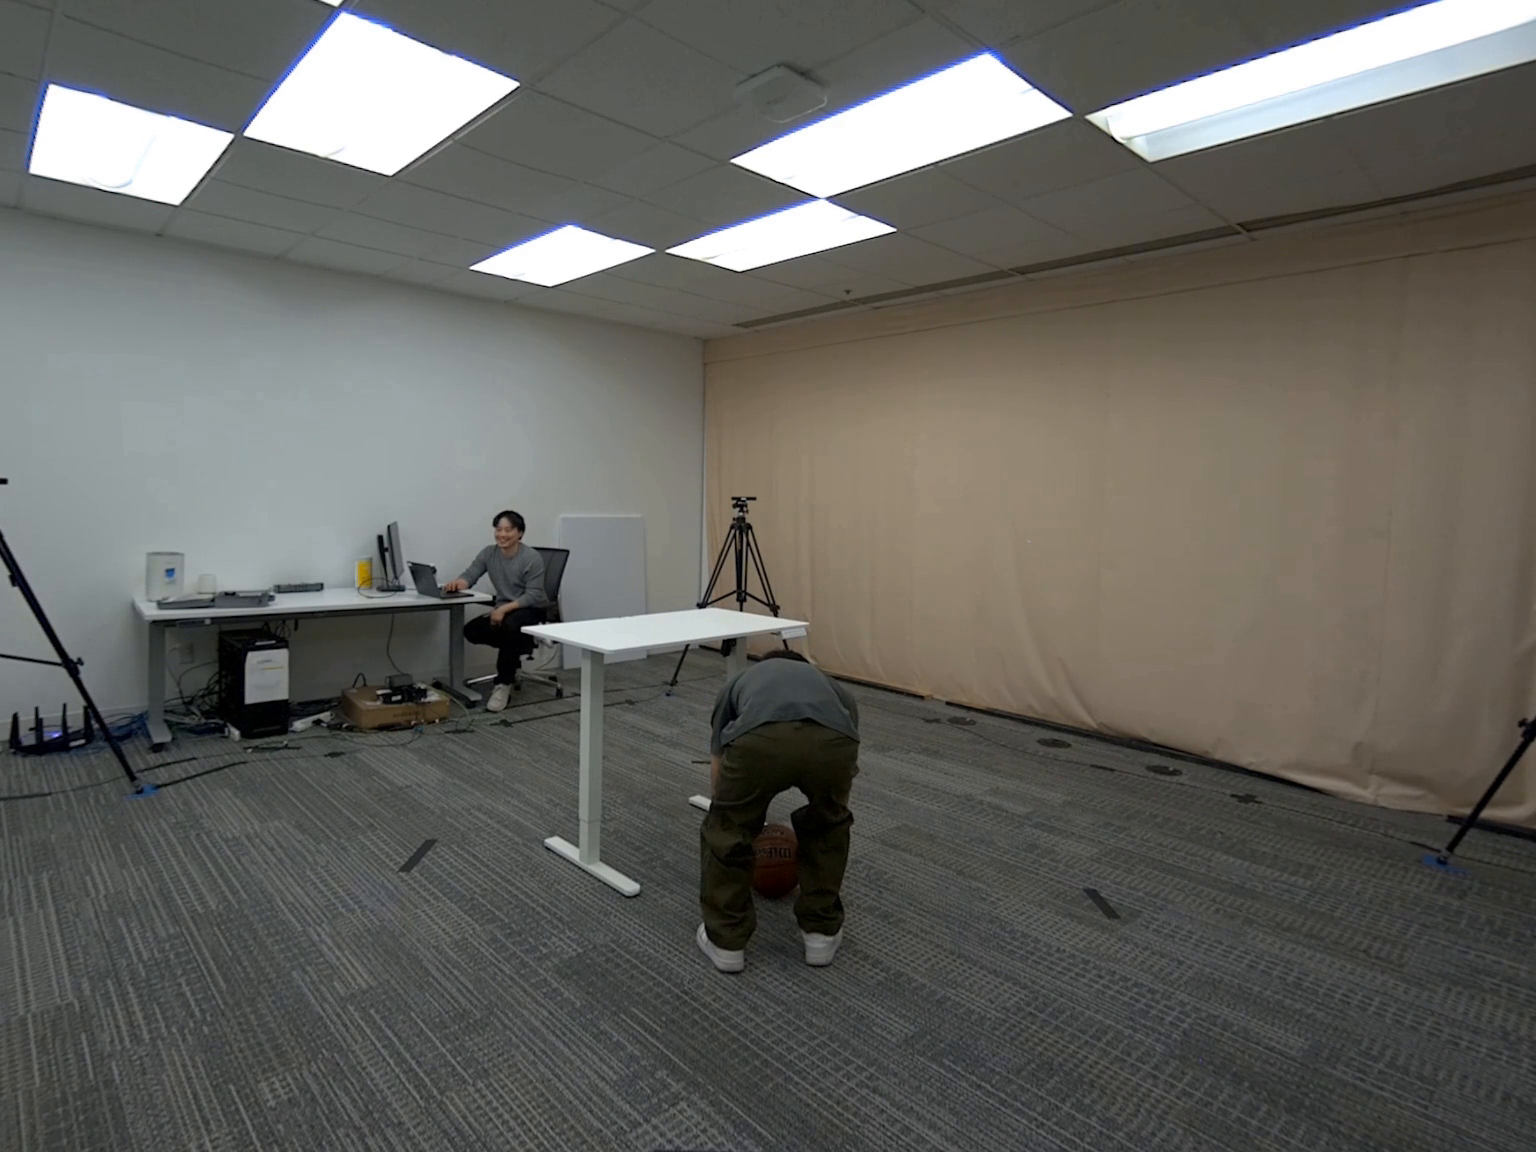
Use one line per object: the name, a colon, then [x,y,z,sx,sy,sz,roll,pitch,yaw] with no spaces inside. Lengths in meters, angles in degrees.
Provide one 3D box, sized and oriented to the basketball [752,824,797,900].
basketball: [0.010,1.004,2.975,0.236,0.235,0.237,1,4,-1]
